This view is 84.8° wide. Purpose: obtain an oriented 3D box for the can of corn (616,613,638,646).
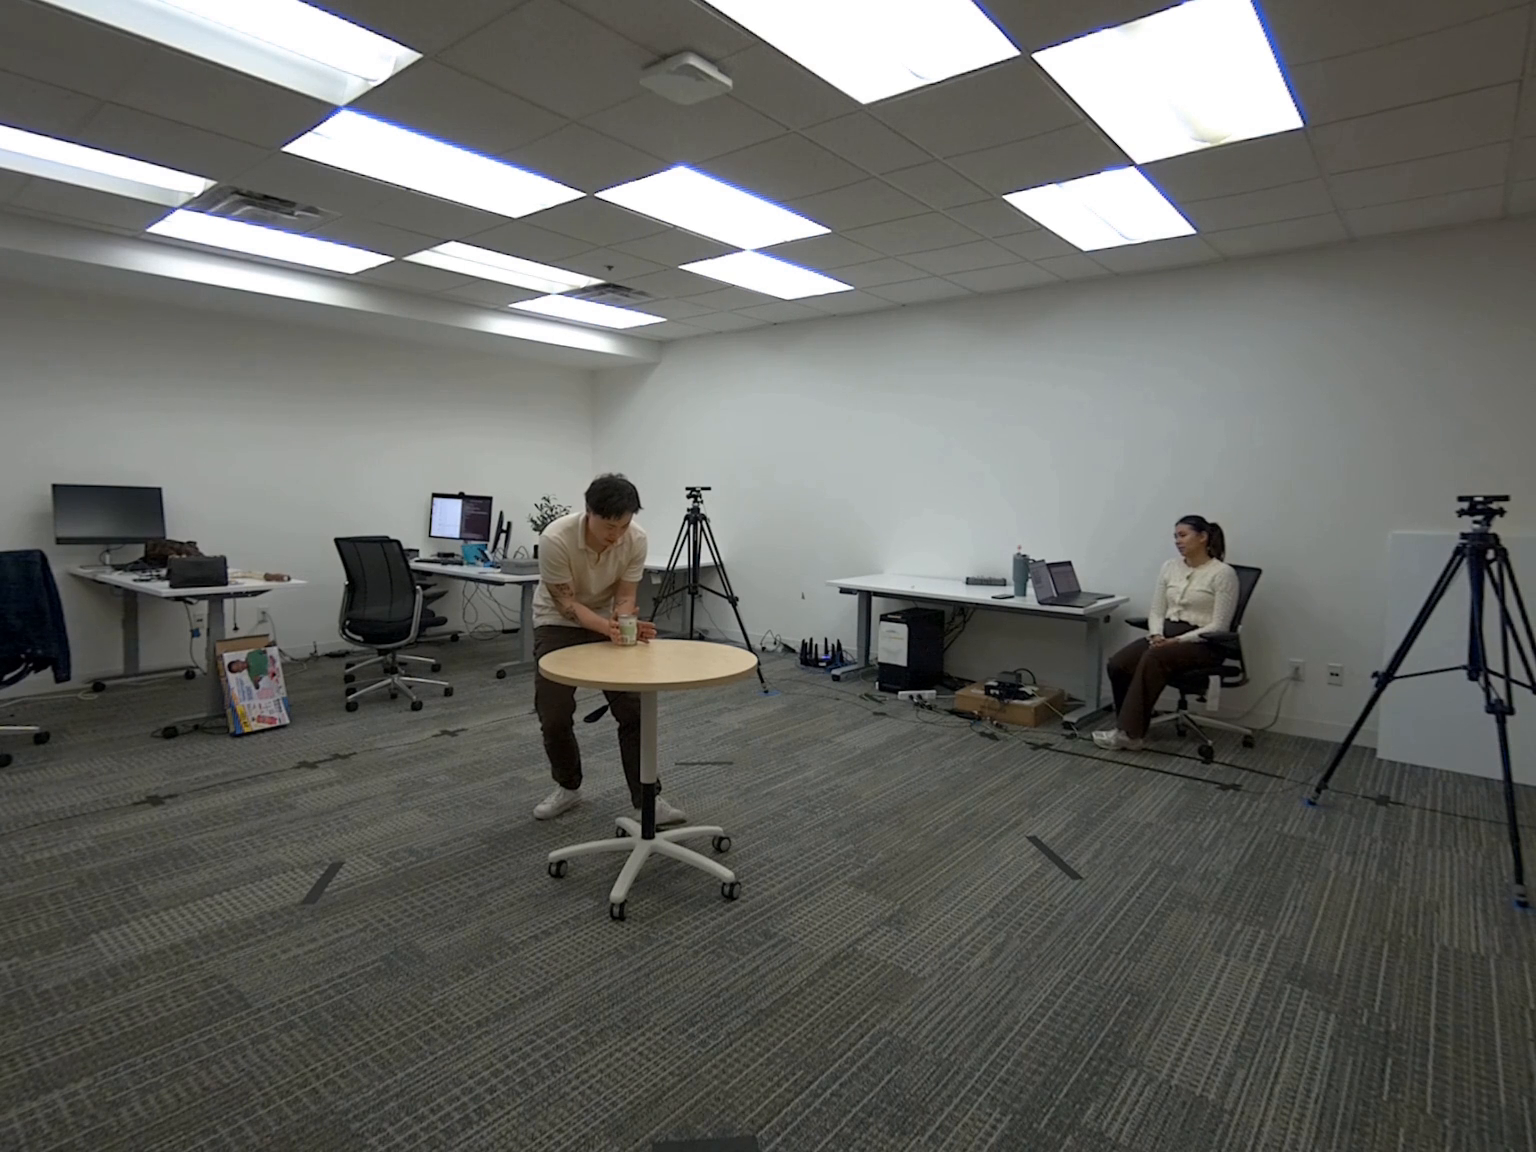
[{"bbox_3d":[-0.558,0.211,3.259,0.074,0.111,0.074,-3,0,-2],"label":"can of corn"}]
